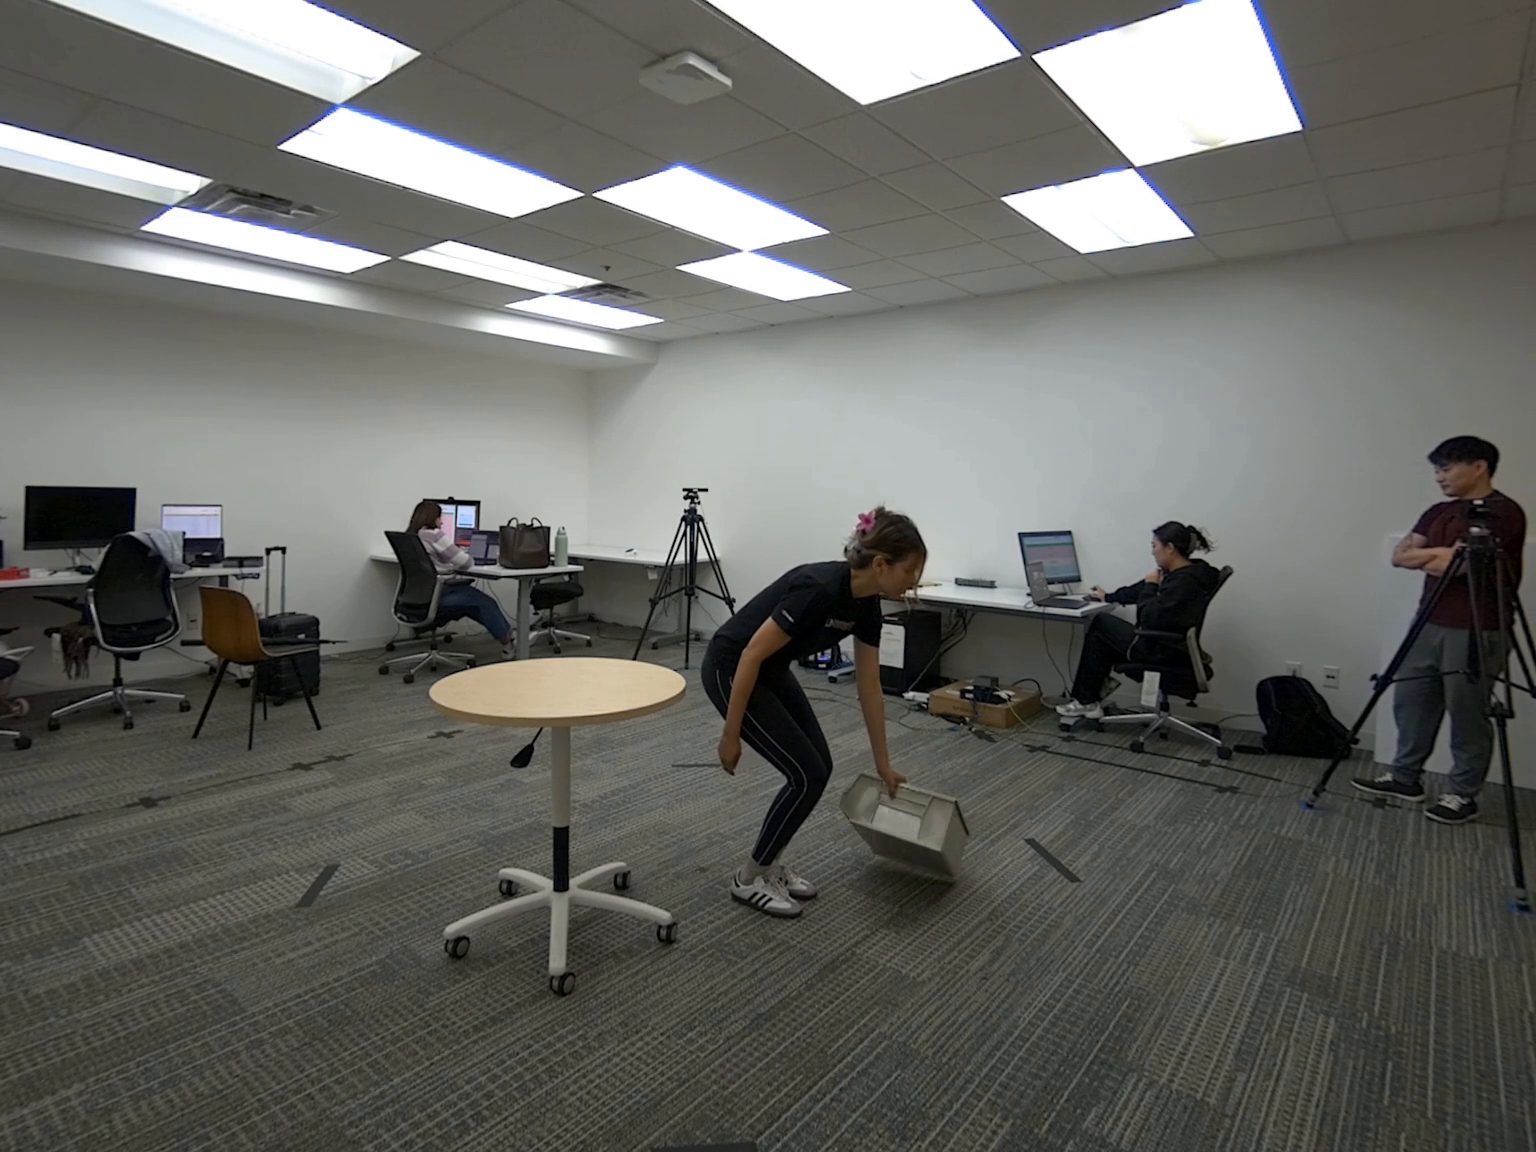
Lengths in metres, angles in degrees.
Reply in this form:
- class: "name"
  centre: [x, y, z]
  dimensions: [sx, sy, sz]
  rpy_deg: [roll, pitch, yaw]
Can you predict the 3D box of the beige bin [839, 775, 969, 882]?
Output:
- class: "beige bin"
  centre: [0.478, 0.884, 3.006]
  dimensions: [0.389, 0.191, 0.405]
  rpy_deg: [12, -28, 28]
